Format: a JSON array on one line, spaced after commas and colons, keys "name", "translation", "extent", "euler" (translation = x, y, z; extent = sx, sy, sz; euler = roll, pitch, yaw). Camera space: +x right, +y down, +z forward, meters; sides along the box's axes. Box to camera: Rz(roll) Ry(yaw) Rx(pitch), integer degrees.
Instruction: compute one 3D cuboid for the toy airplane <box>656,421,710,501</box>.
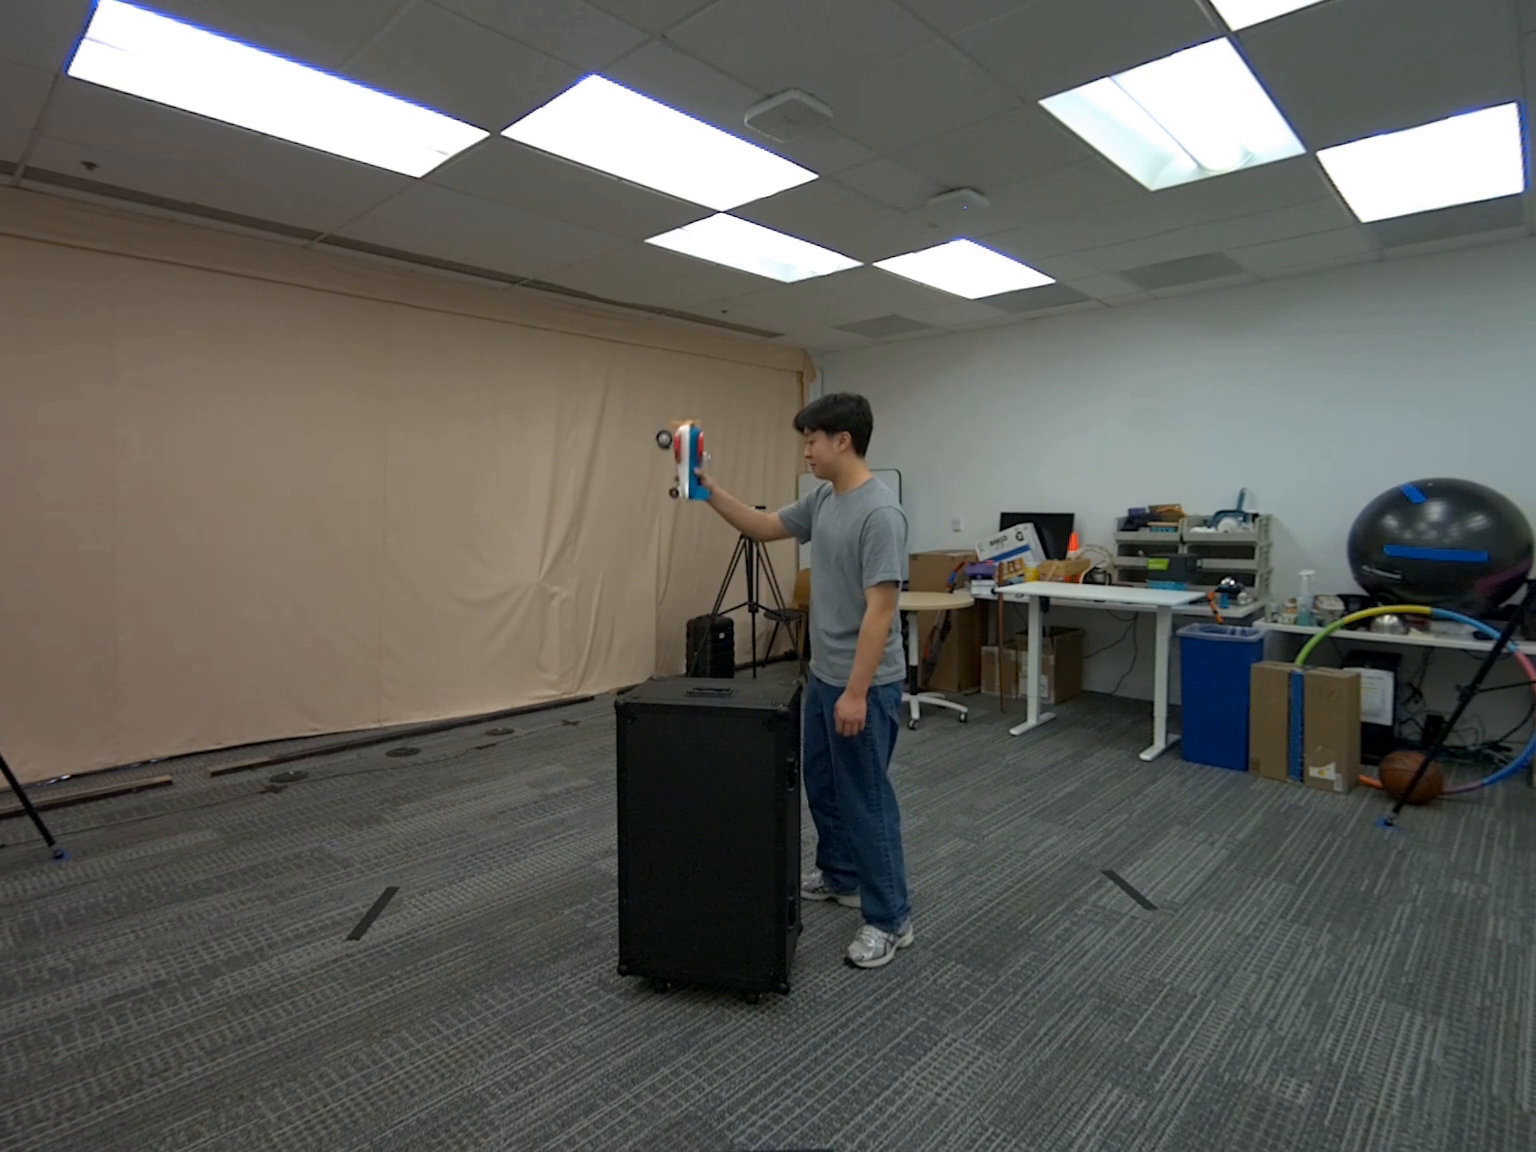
[{"name": "toy airplane", "translation": [-0.264, -0.372, 2.773], "extent": [0.156, 0.254, 0.257], "euler": [-15, 29, -4]}]
